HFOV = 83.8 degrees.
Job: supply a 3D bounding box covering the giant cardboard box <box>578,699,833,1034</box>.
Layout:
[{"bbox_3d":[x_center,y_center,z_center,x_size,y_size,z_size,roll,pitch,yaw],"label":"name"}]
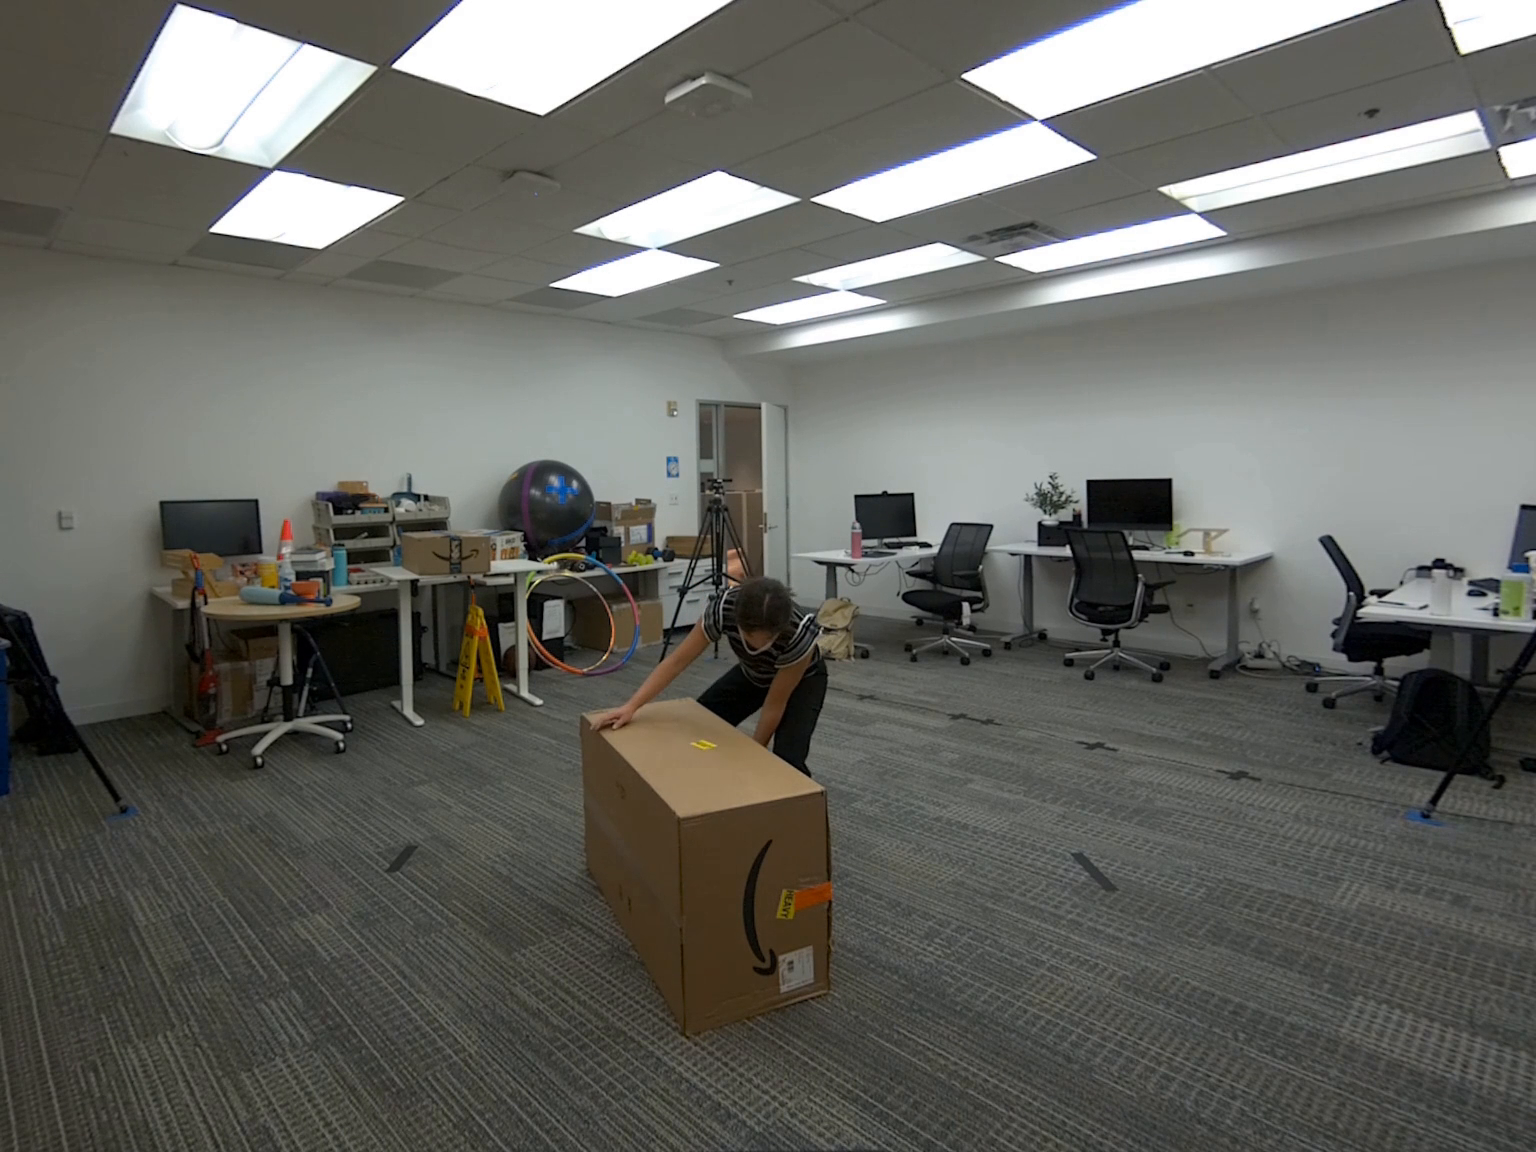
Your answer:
[{"bbox_3d":[-0.252,0.811,2.675,0.418,0.575,1.051,-4,7,-24],"label":"giant cardboard box"}]
